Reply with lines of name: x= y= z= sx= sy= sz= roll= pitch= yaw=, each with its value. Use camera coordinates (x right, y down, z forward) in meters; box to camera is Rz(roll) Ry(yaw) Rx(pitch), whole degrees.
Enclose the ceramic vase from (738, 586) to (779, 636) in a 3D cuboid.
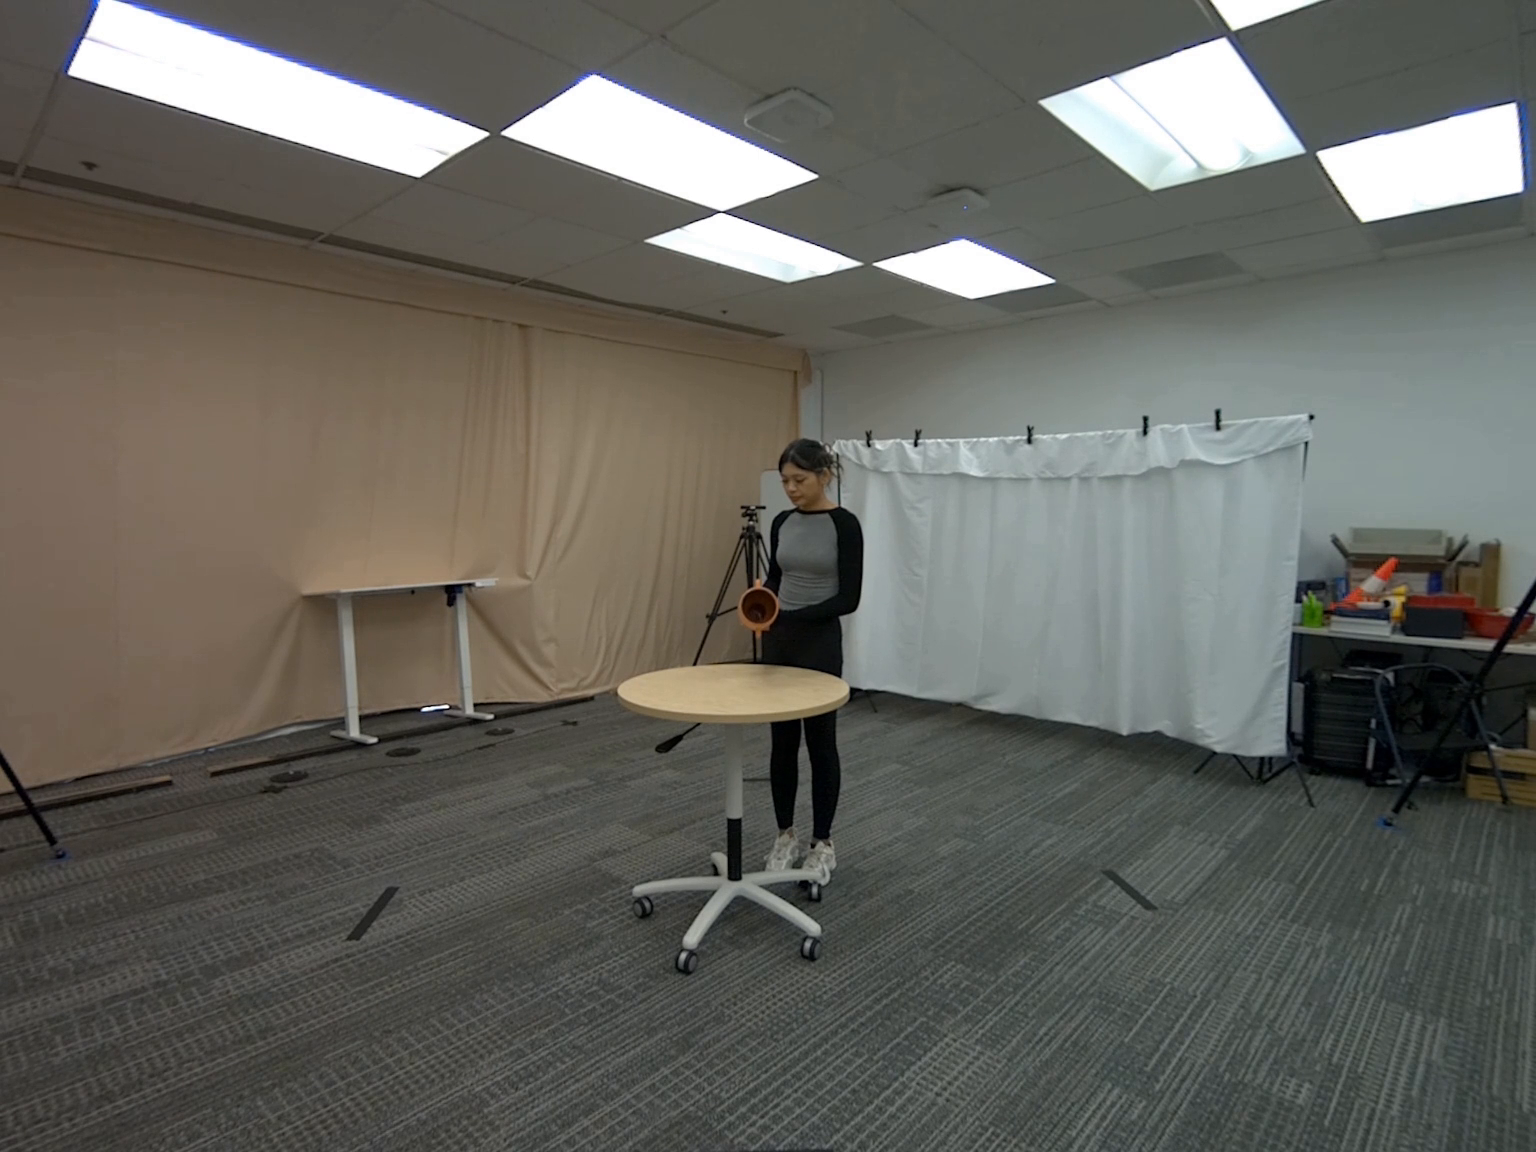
ceramic vase: x=-0.033 y=0.122 z=2.923 sx=0.136 sy=0.158 sz=0.218 roll=40 pitch=-10 yaw=6
